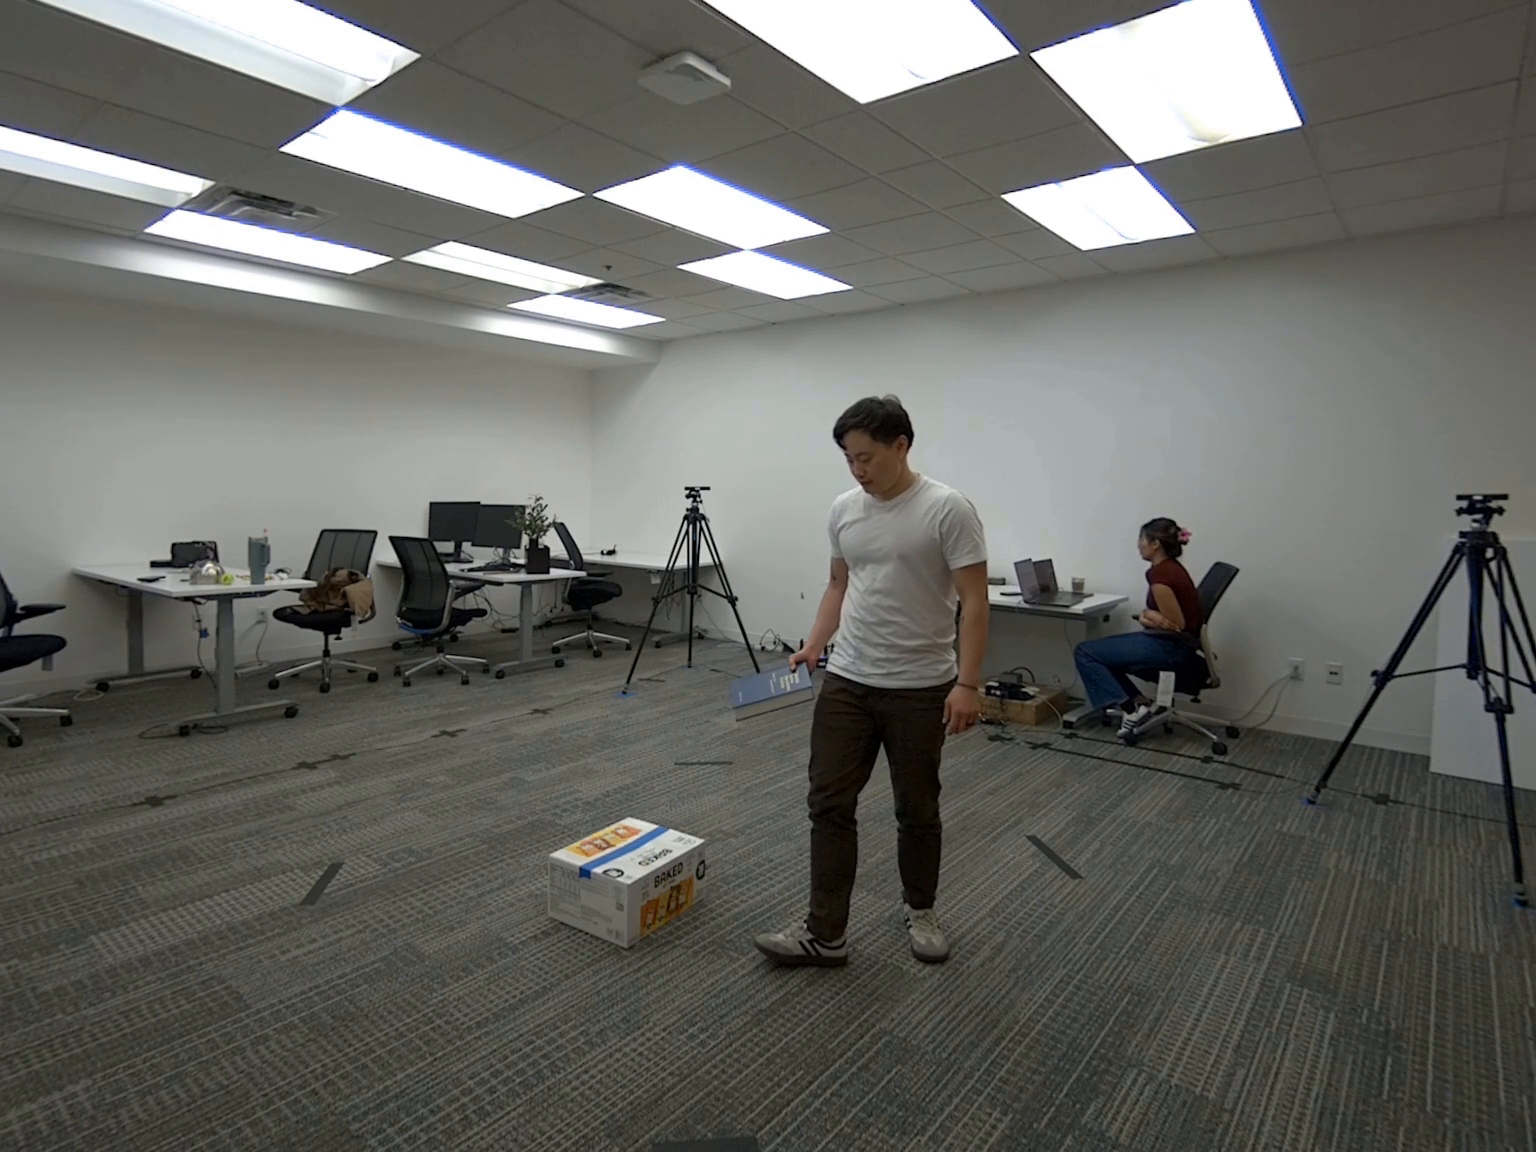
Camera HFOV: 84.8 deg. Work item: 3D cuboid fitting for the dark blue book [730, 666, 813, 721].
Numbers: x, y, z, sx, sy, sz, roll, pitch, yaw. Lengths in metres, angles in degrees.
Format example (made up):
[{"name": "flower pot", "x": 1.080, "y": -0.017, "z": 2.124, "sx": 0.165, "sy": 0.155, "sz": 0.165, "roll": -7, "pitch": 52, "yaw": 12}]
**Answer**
[{"name": "dark blue book", "x": 0.004, "y": 0.343, "z": 2.577, "sx": 0.245, "sy": 0.044, "sz": 0.168, "roll": -17, "pitch": 23, "yaw": -2}]
